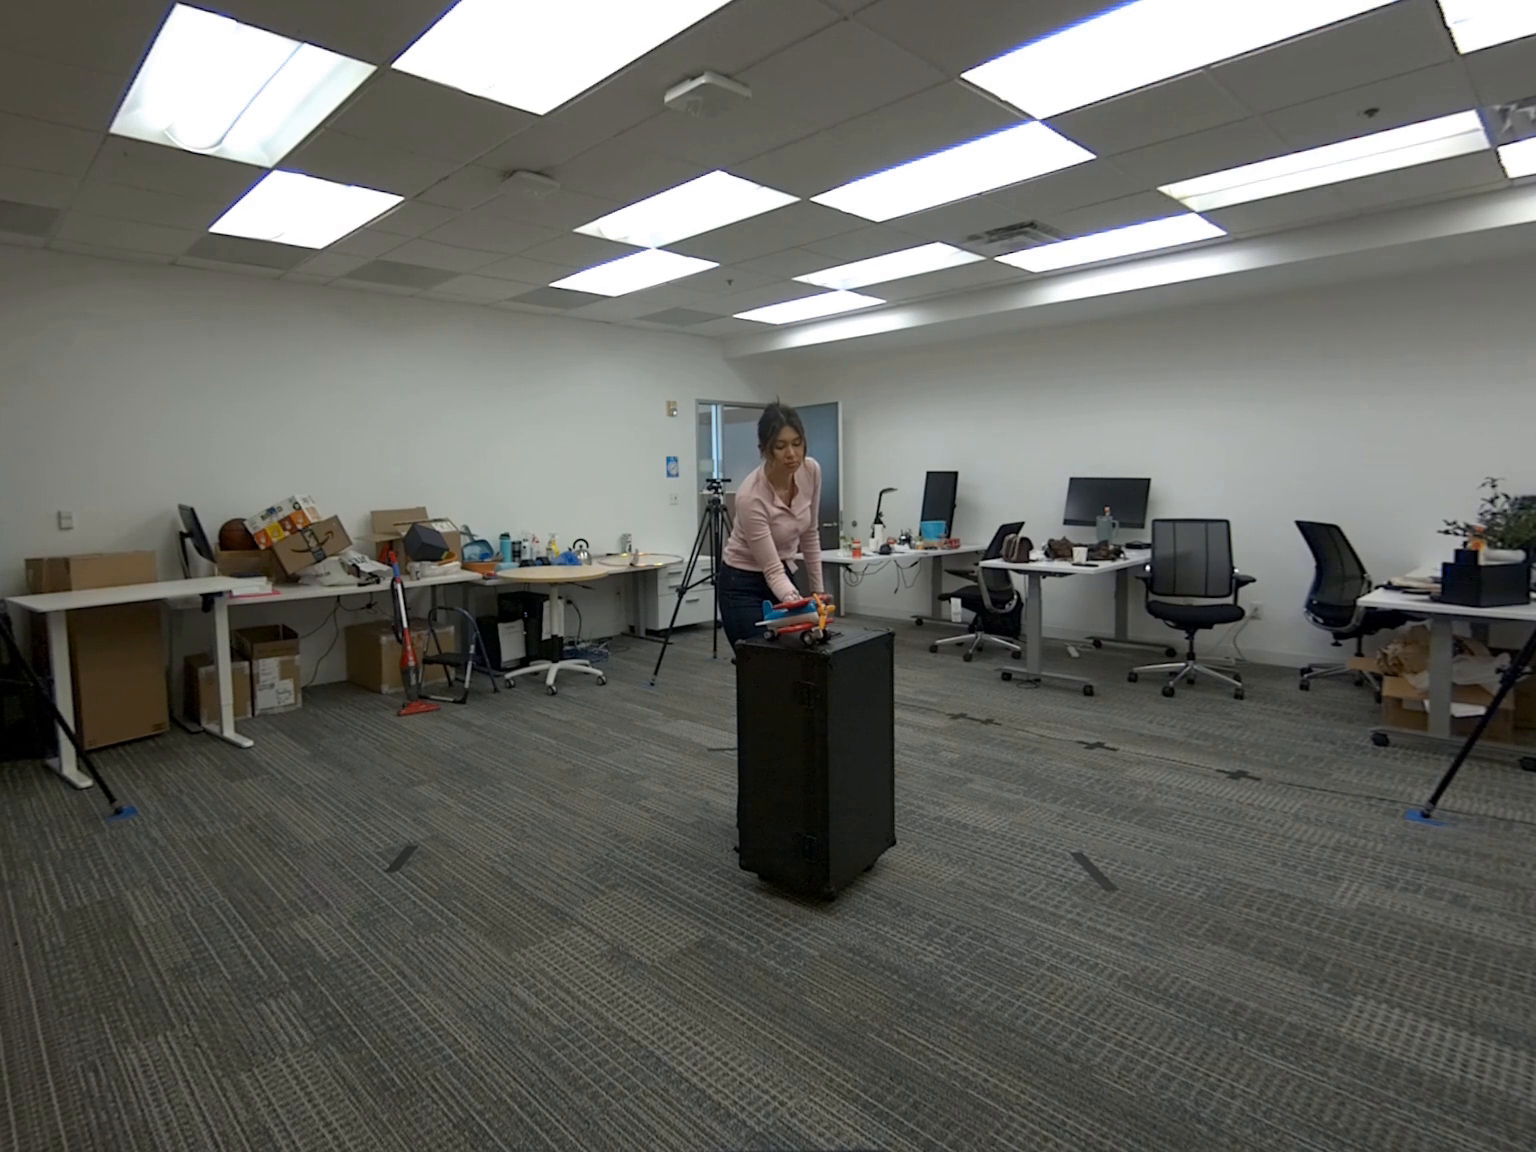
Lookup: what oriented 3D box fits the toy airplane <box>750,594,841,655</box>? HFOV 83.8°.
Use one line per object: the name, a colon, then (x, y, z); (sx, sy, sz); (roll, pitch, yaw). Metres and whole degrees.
toy airplane: (0.093, 0.154, 2.834); (0.263, 0.156, 0.248); (0, 4, 13)
